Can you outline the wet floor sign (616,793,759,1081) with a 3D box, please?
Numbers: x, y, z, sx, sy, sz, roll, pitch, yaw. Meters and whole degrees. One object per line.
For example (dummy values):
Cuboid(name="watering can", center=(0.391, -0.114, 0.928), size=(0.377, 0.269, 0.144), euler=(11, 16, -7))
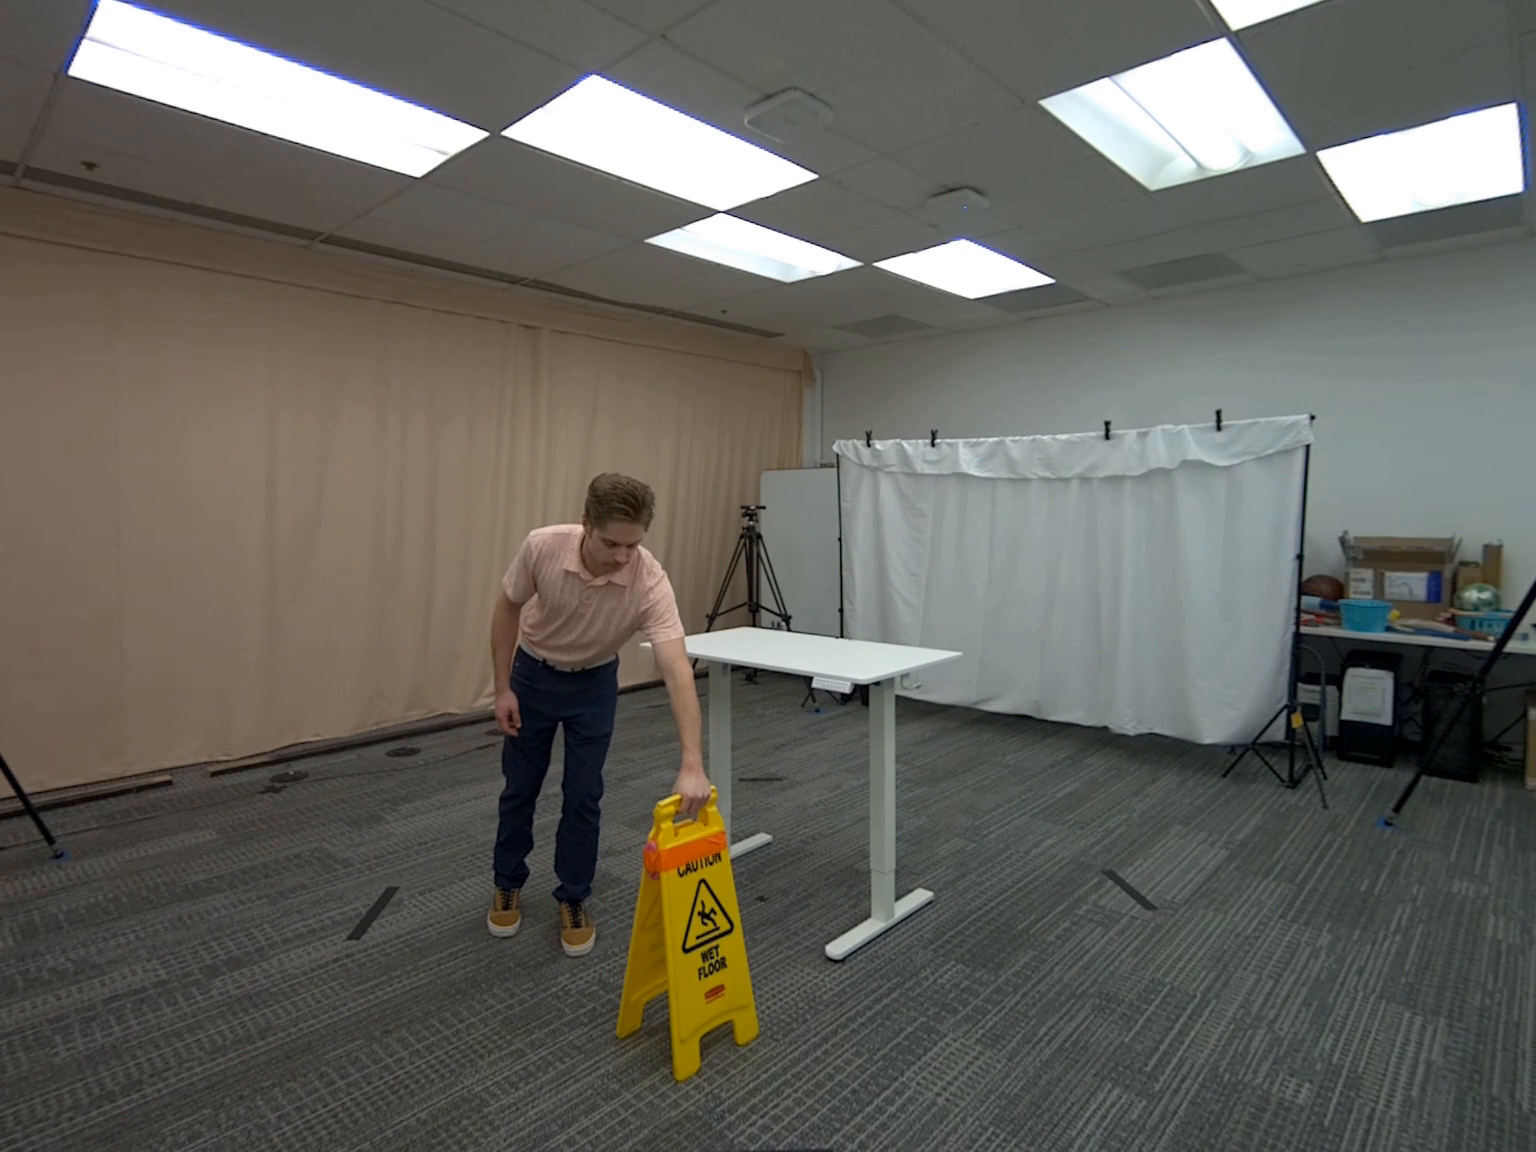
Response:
Cuboid(name="wet floor sign", center=(-0.215, 0.890, 2.200), size=(0.299, 0.645, 0.273), euler=(1, 2, 44))
